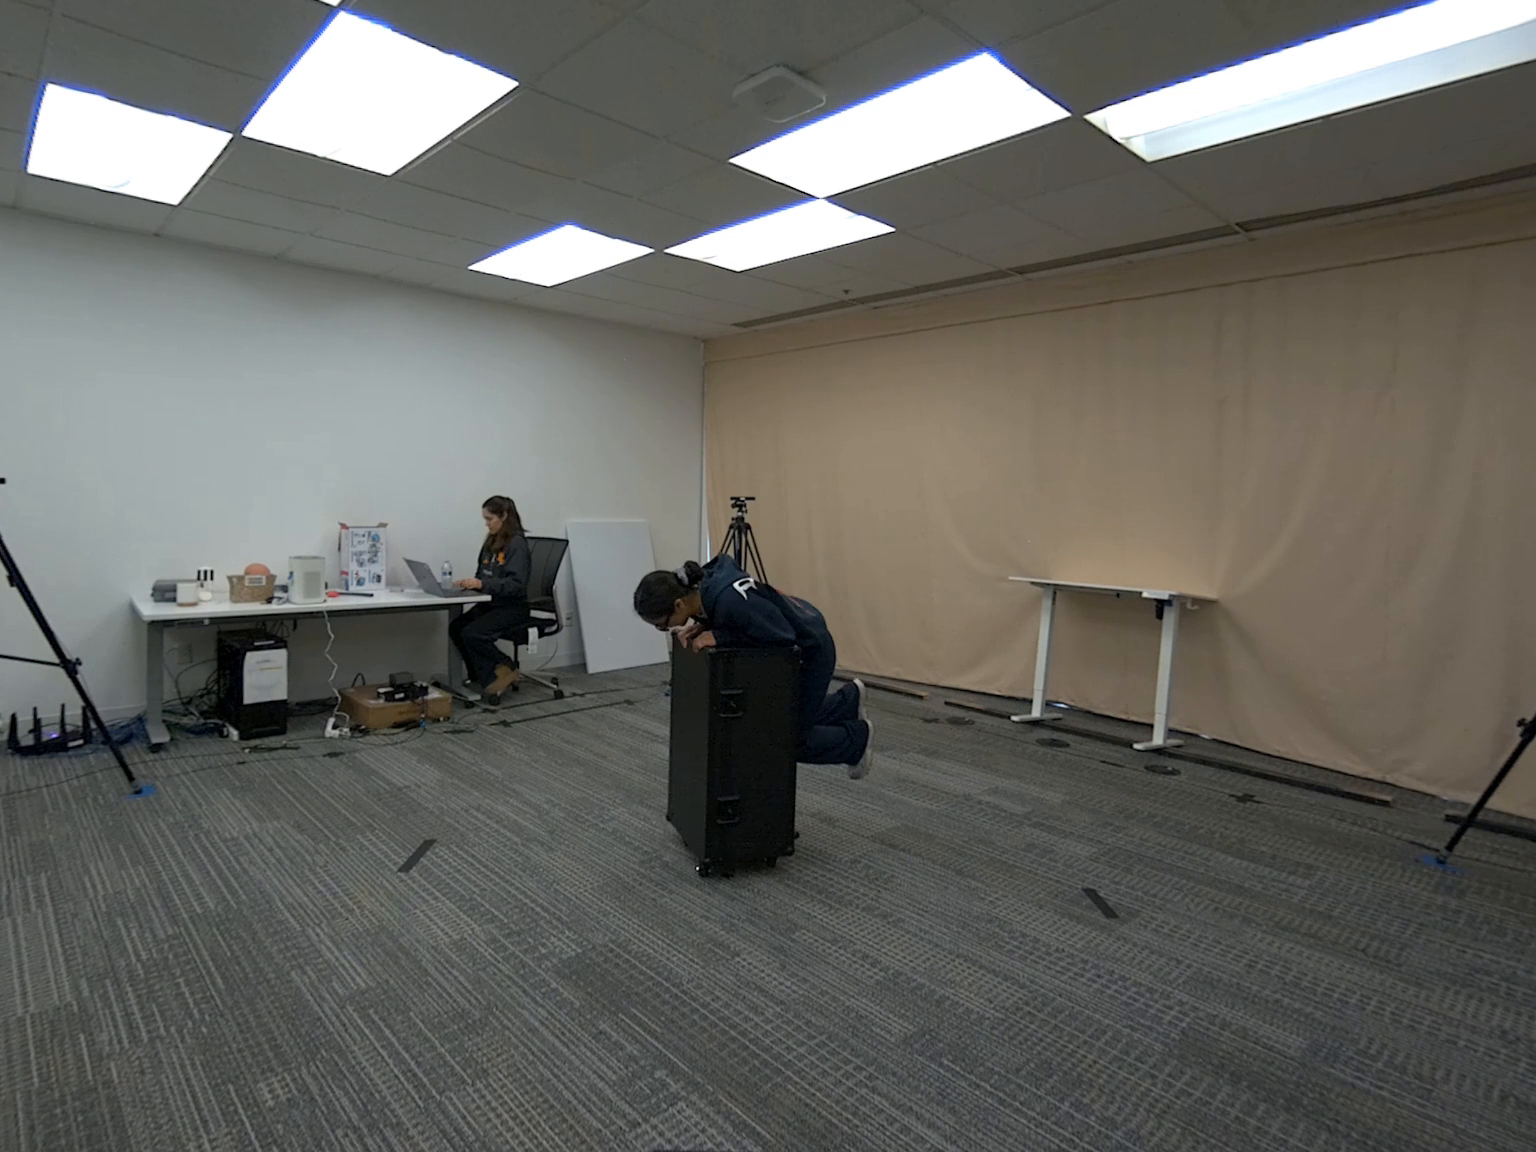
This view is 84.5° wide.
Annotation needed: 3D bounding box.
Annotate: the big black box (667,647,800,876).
[{"bbox_3d":[-0.145,0.671,3.285,0.390,0.860,0.530,2,2,-22],"label":"big black box"}]
